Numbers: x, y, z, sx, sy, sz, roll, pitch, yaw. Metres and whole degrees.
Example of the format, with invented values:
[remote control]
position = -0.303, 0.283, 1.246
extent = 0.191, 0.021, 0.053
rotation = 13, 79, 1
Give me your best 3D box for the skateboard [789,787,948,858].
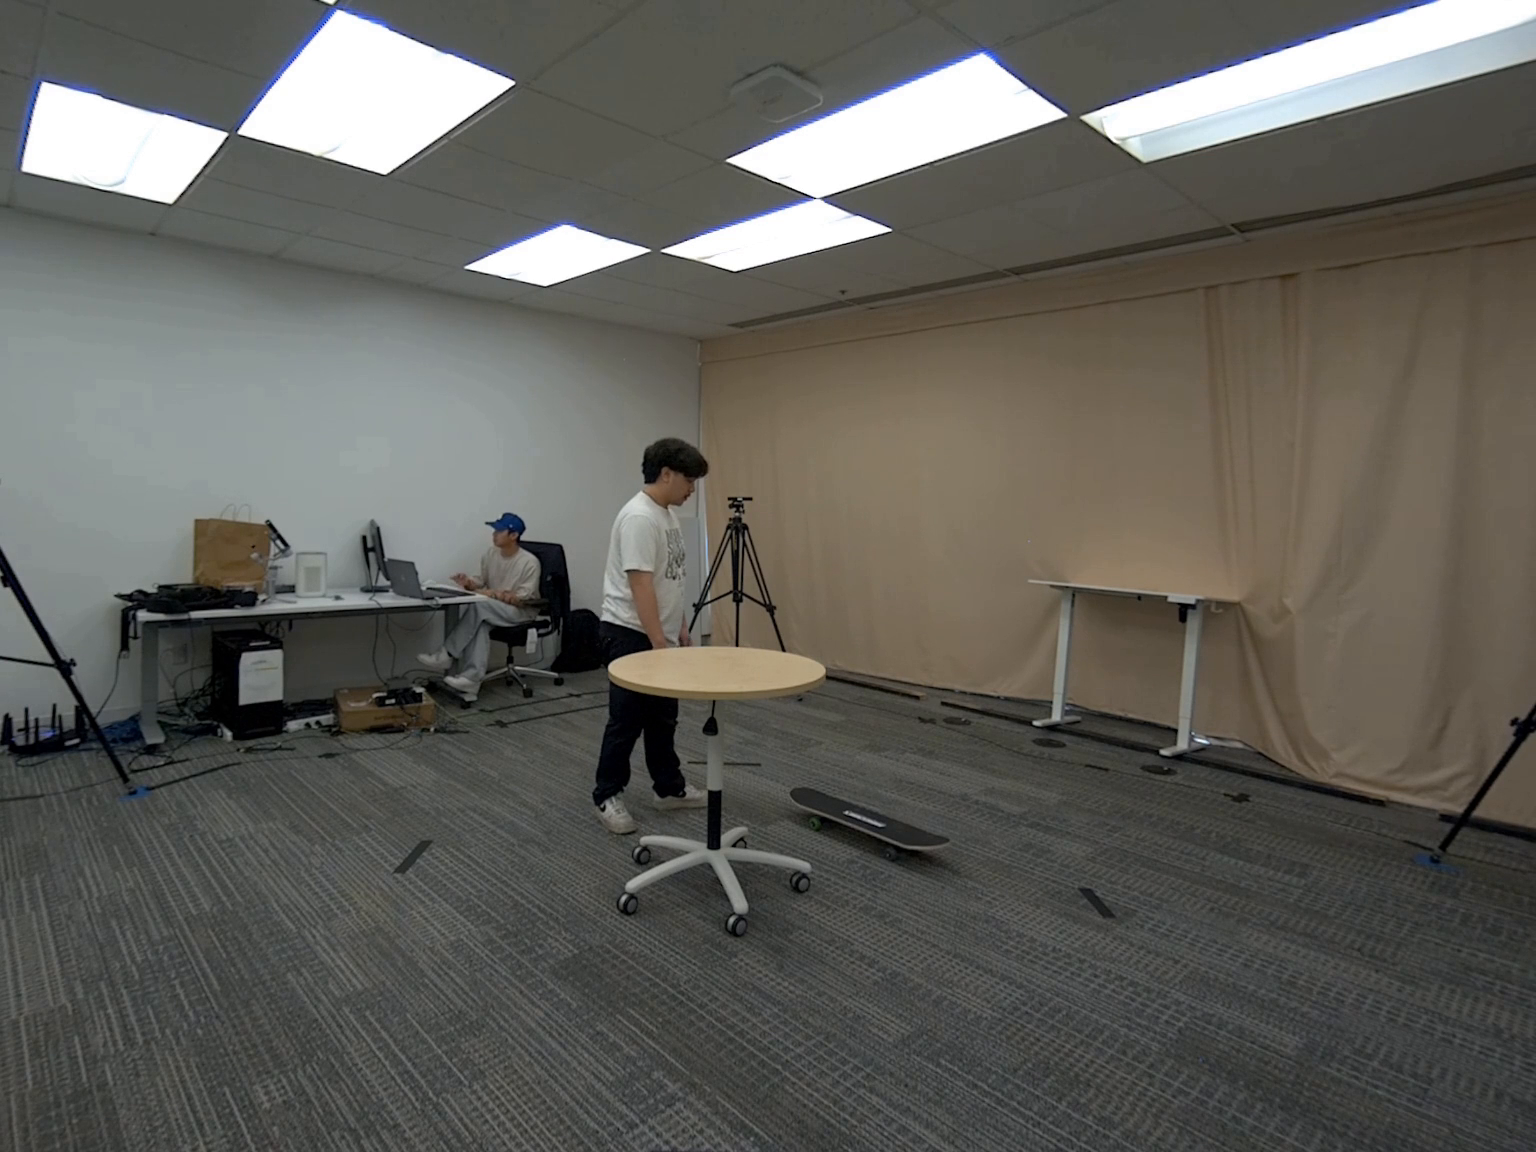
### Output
[skateboard]
position = 0.387, 1.037, 3.489
extent = 0.189, 0.110, 0.806
rotation = -2, 6, -43
